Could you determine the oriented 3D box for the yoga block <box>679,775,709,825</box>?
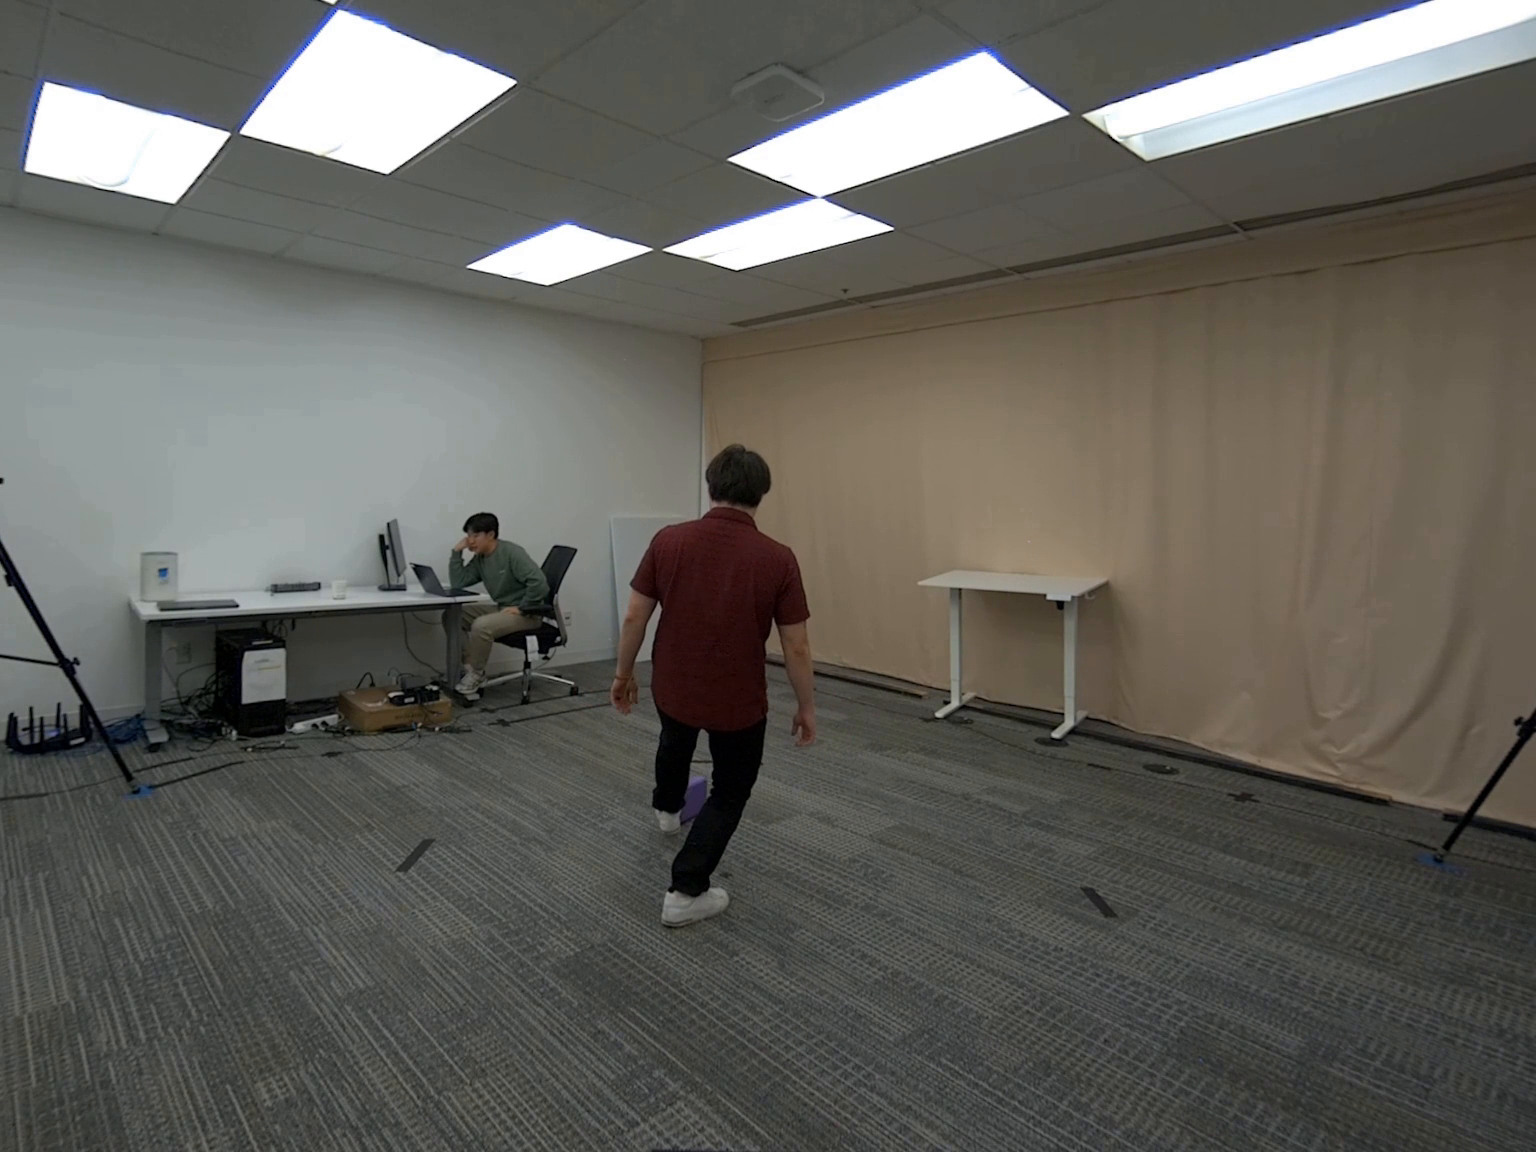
[{"bbox_3d":[-0.365,0.971,3.657,0.078,0.149,0.225,4,4,26],"label":"yoga block"}]
